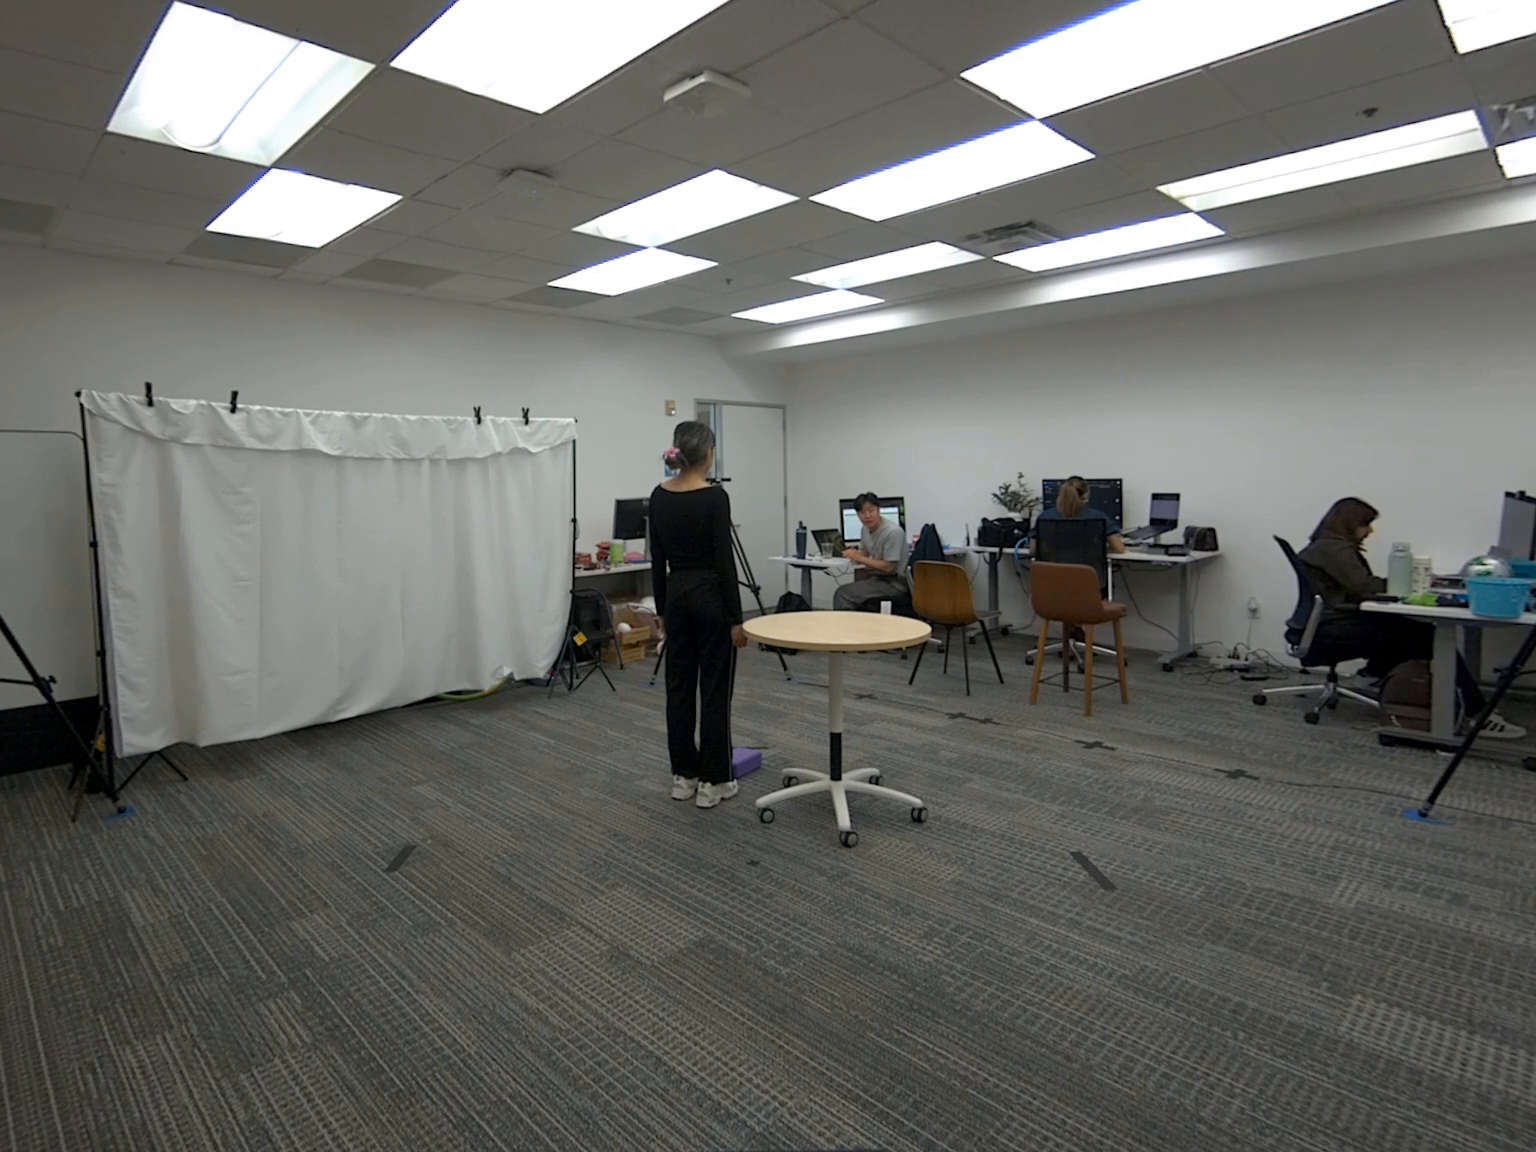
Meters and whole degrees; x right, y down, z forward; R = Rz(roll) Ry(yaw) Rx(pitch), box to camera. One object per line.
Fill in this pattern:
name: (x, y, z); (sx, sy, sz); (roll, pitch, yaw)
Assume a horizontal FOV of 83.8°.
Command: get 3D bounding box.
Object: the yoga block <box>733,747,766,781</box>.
yoga block: (-0.141, 0.895, 4.101); (0.153, 0.076, 0.224); (2, 6, 35)
